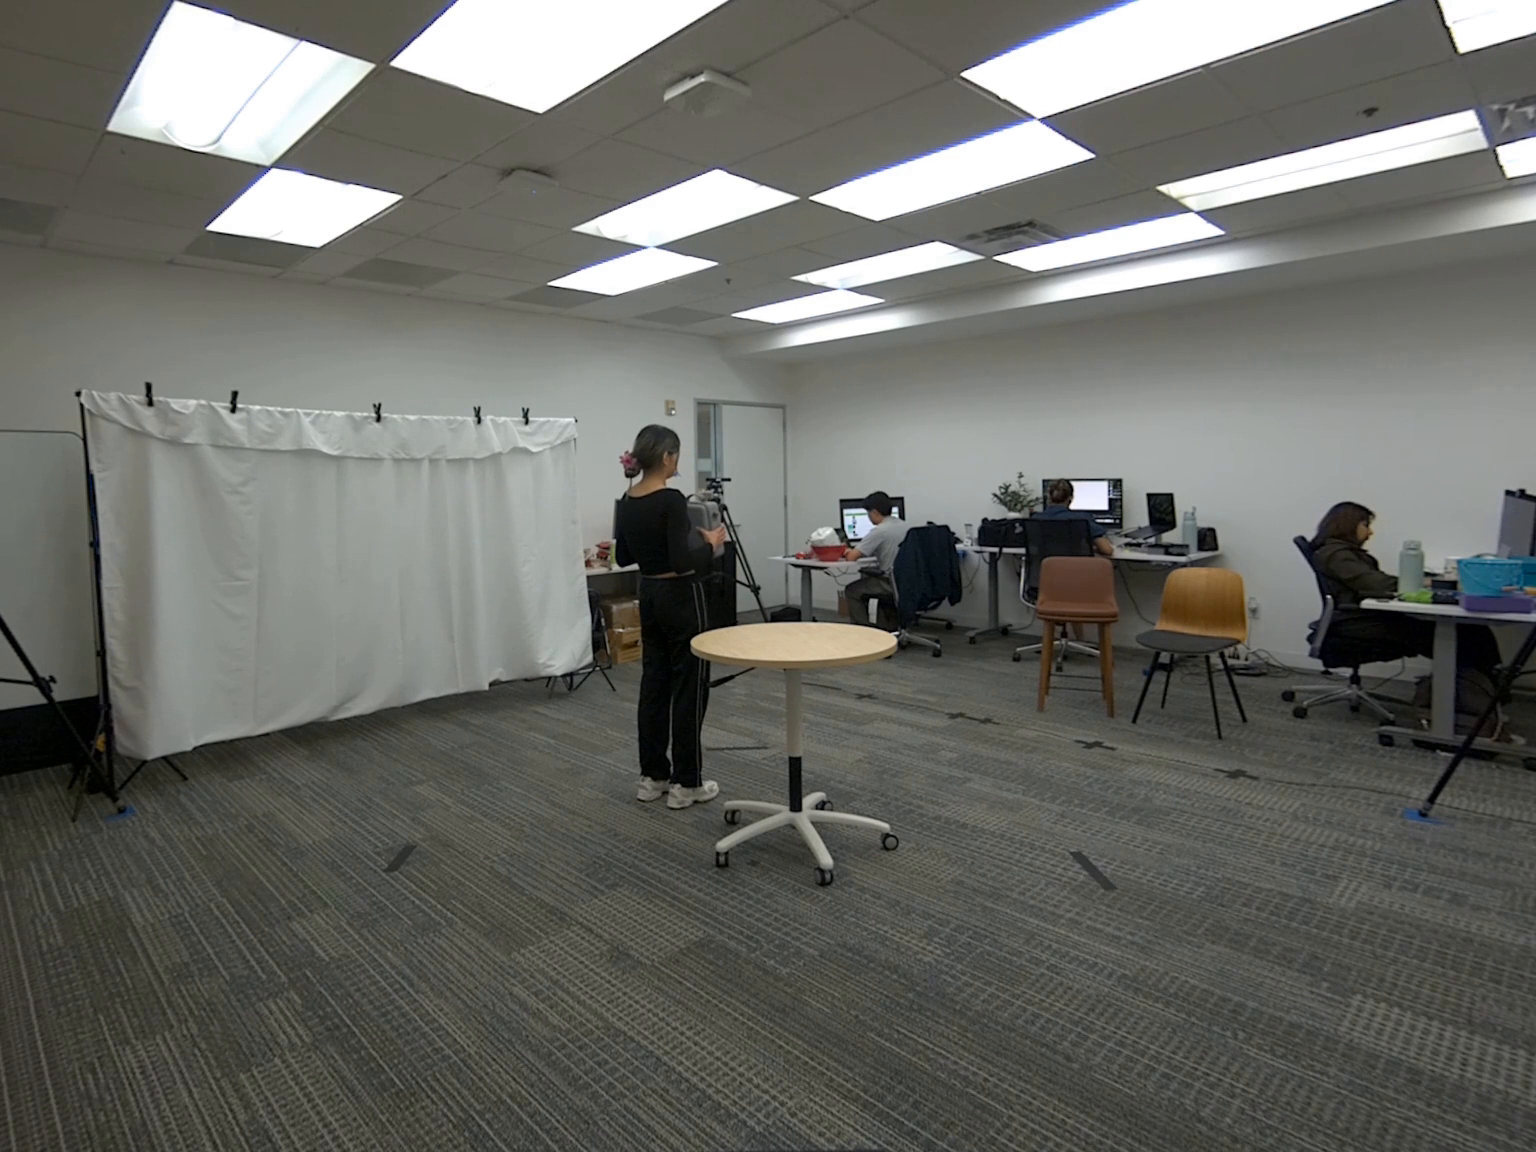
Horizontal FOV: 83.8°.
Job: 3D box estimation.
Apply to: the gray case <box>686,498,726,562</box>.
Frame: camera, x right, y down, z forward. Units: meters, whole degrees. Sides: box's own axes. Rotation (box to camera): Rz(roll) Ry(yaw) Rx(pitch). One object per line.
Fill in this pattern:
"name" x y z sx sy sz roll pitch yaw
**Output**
"gray case" -0.328 -0.210 3.878 0.102 0.258 0.265 -14 14 -40
